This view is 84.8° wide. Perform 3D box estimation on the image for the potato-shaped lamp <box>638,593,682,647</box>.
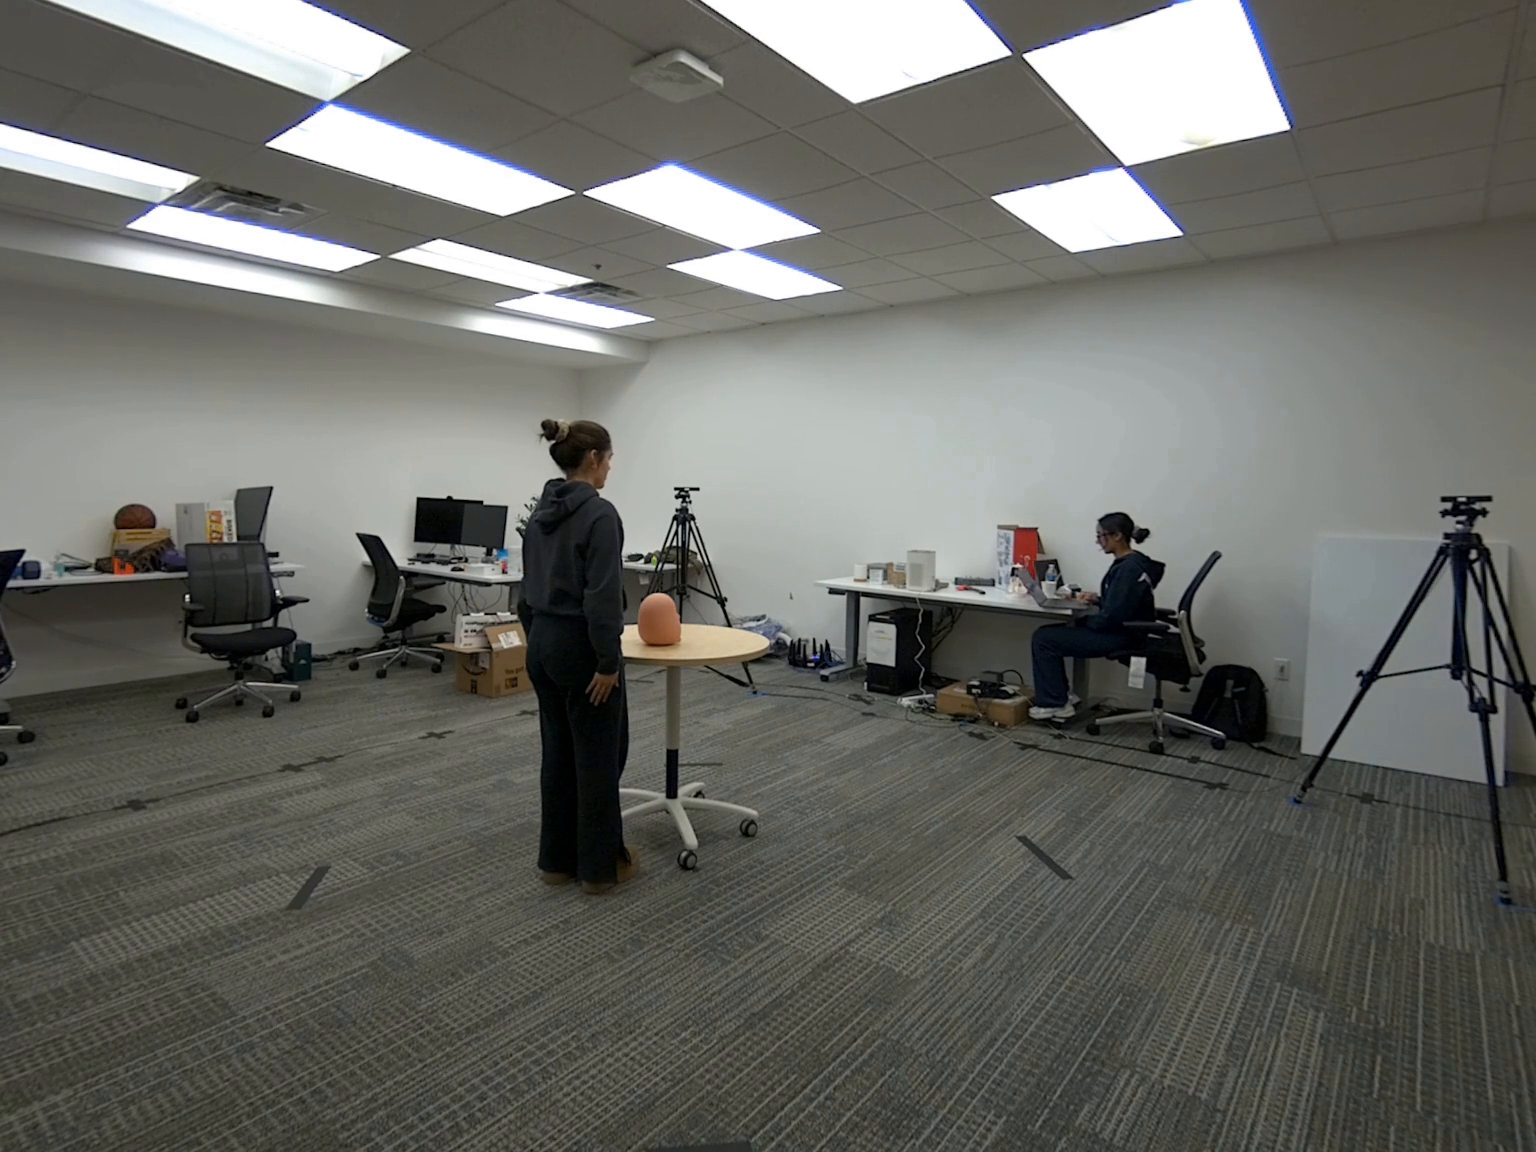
[{"bbox_3d":[-0.425,0.162,3.307,0.169,0.197,0.167,1,5,32],"label":"potato-shaped lamp"}]
